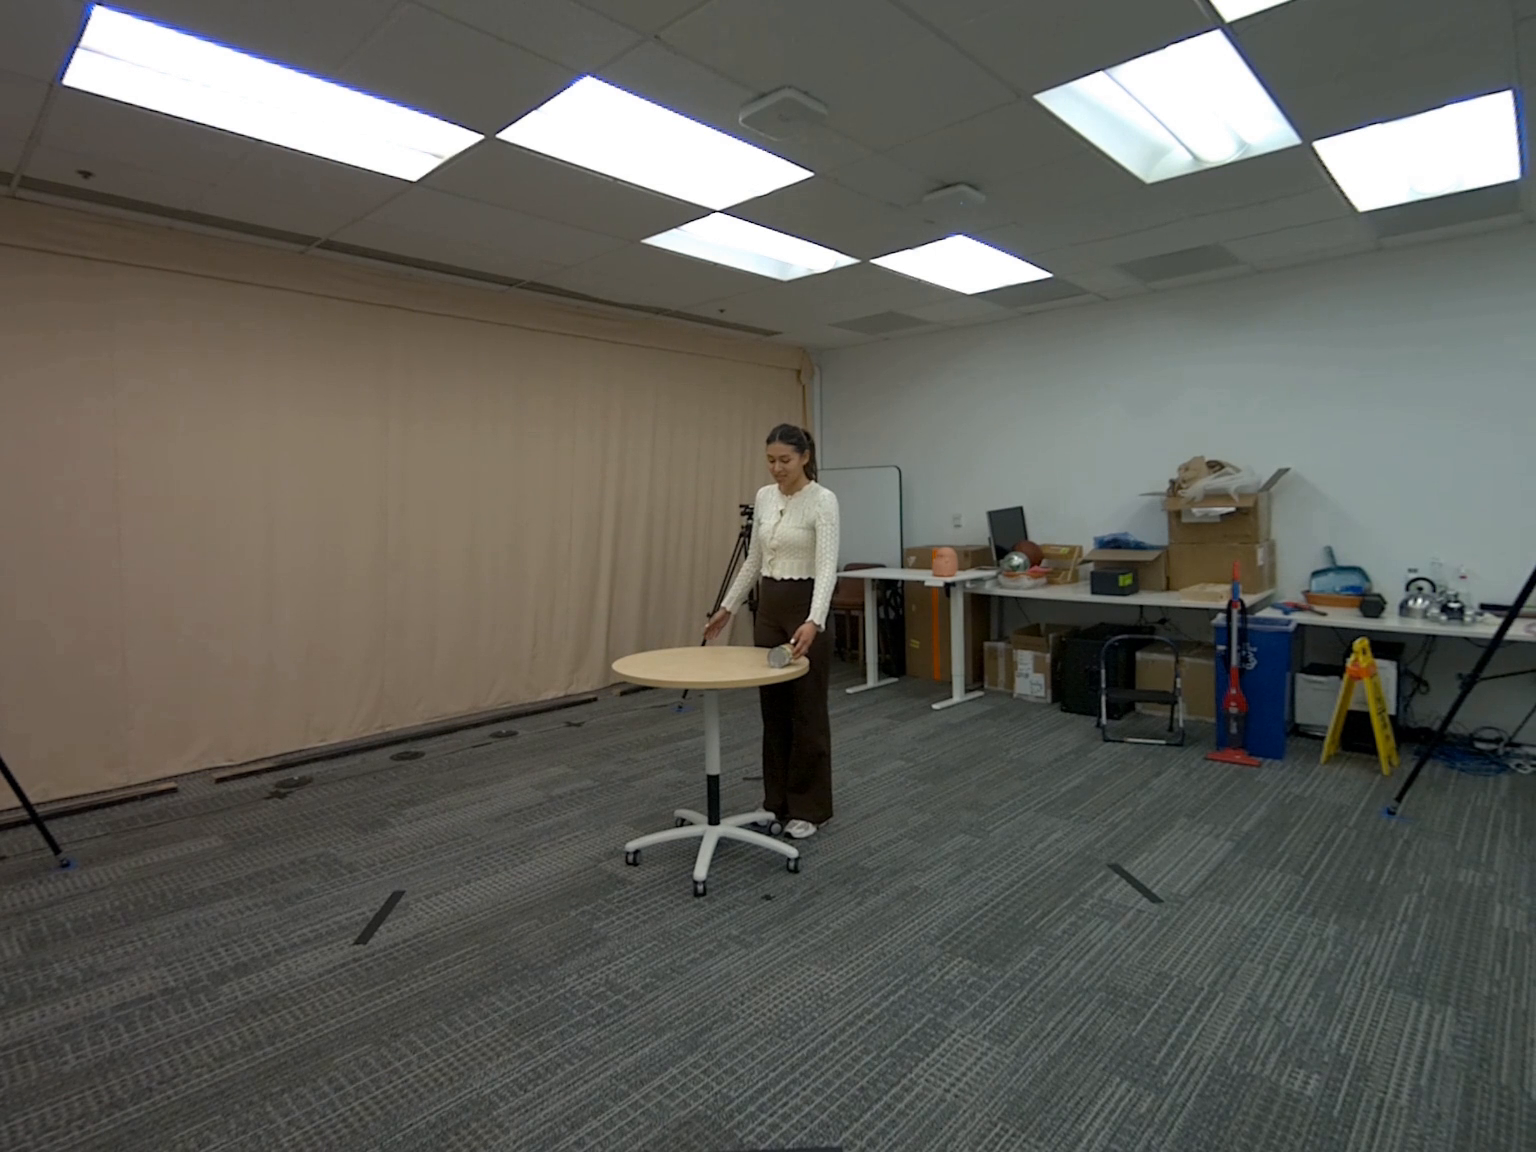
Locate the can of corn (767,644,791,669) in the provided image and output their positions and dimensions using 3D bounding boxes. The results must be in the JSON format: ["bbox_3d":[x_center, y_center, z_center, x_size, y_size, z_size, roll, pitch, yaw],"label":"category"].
[{"bbox_3d":[0.040,0.300,3.185,0.074,0.074,0.110,0,3,4],"label":"can of corn"}]
